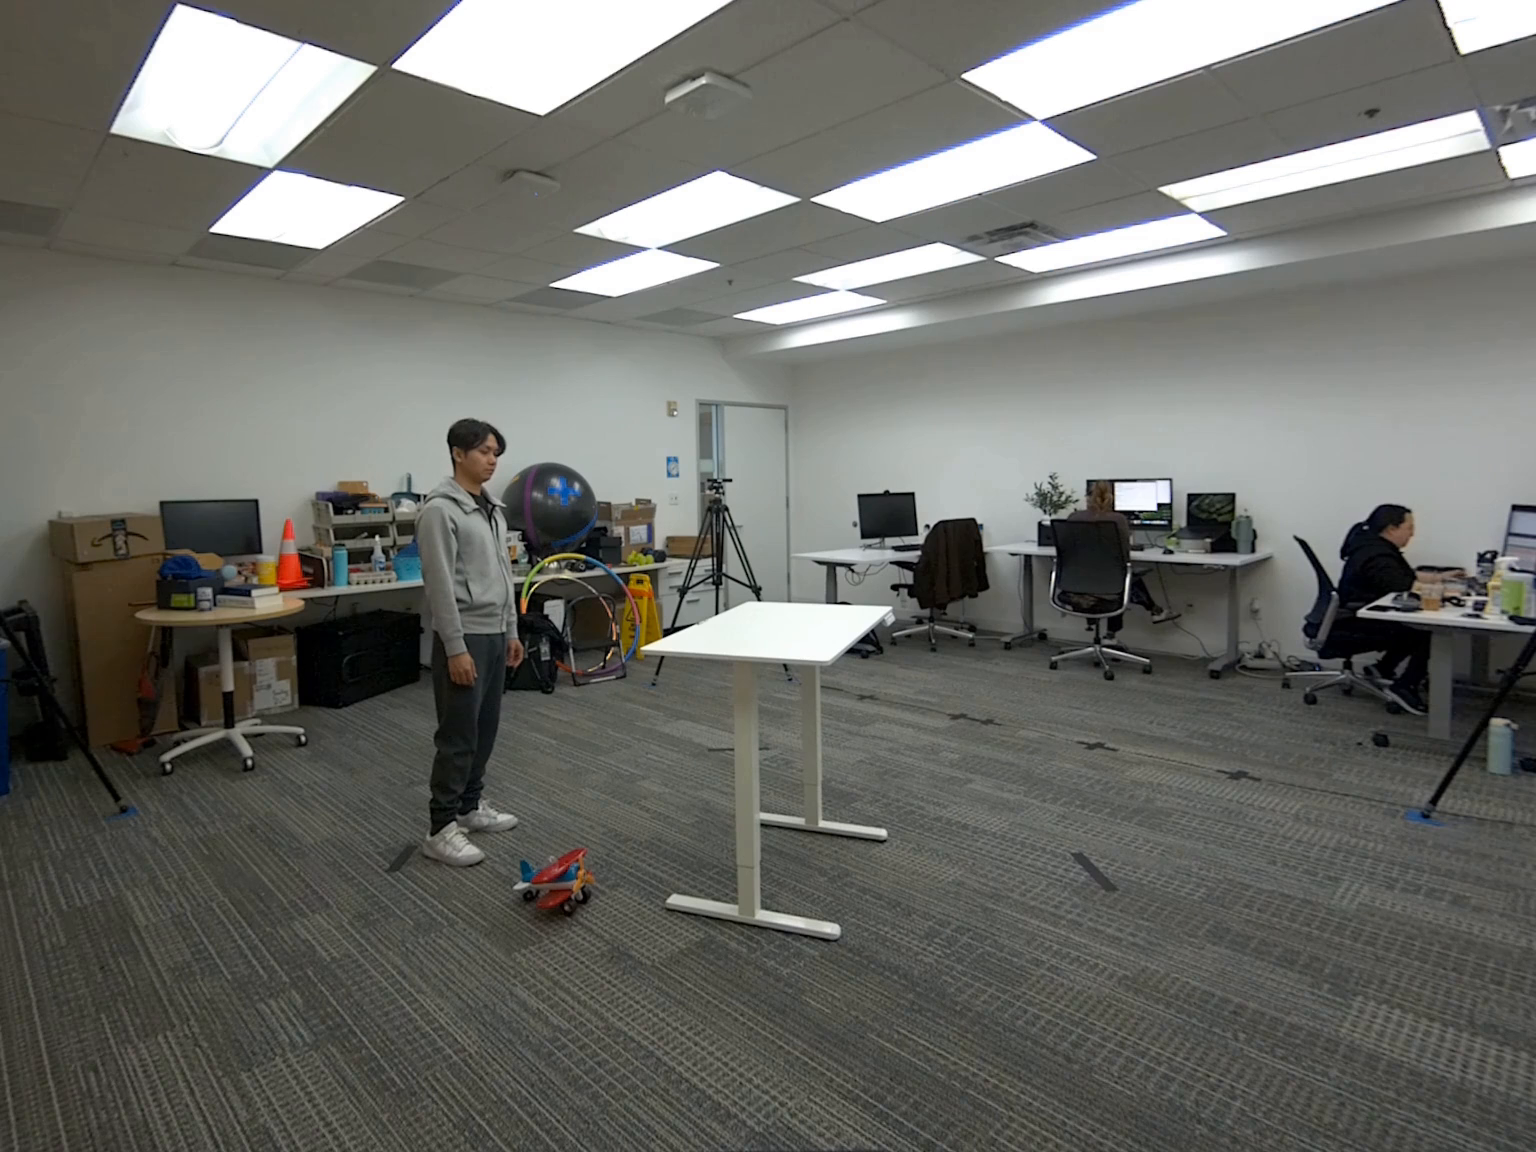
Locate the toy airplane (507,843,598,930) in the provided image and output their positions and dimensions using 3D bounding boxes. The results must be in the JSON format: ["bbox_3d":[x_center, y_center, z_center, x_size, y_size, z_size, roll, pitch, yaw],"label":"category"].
[{"bbox_3d":[-0.704,1.013,2.820,0.258,0.156,0.253,-1,6,-5],"label":"toy airplane"}]
